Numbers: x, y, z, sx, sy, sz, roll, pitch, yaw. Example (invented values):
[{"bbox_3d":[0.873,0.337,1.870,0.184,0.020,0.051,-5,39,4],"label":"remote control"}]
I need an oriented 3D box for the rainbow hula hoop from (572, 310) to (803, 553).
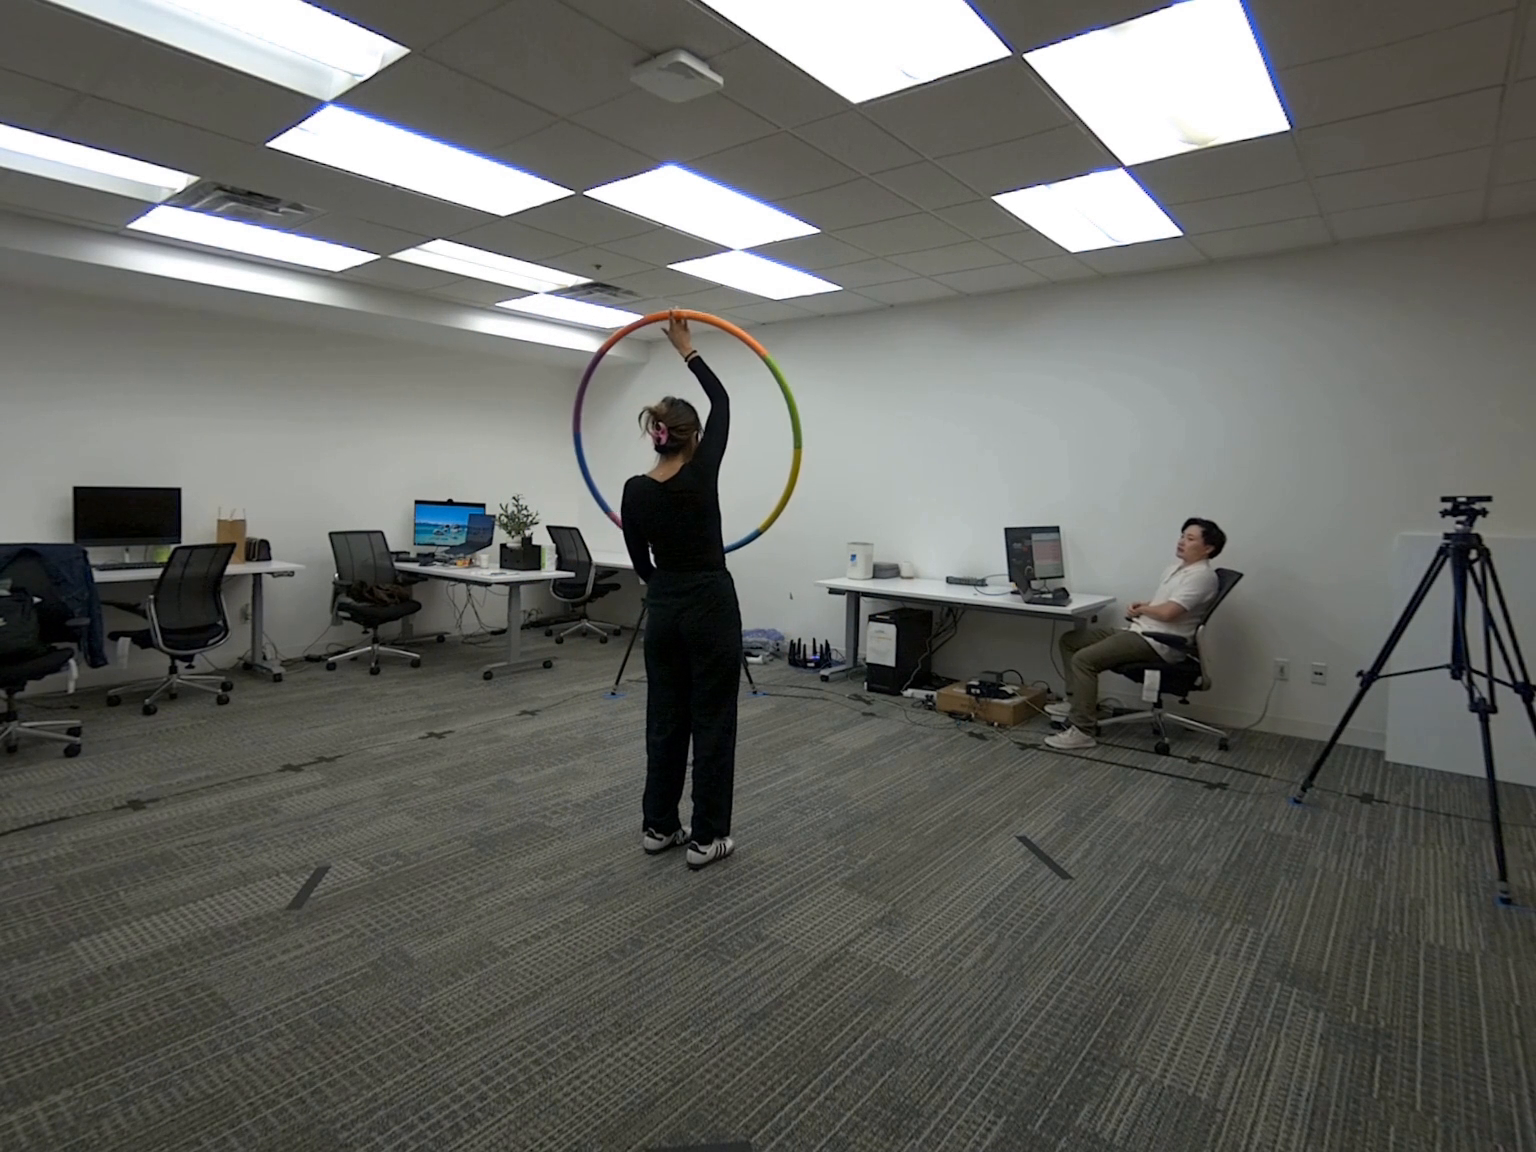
[{"bbox_3d":[-0.351,-0.547,3.379,1.005,0.969,0.051,3,17,19],"label":"rainbow hula hoop"}]
